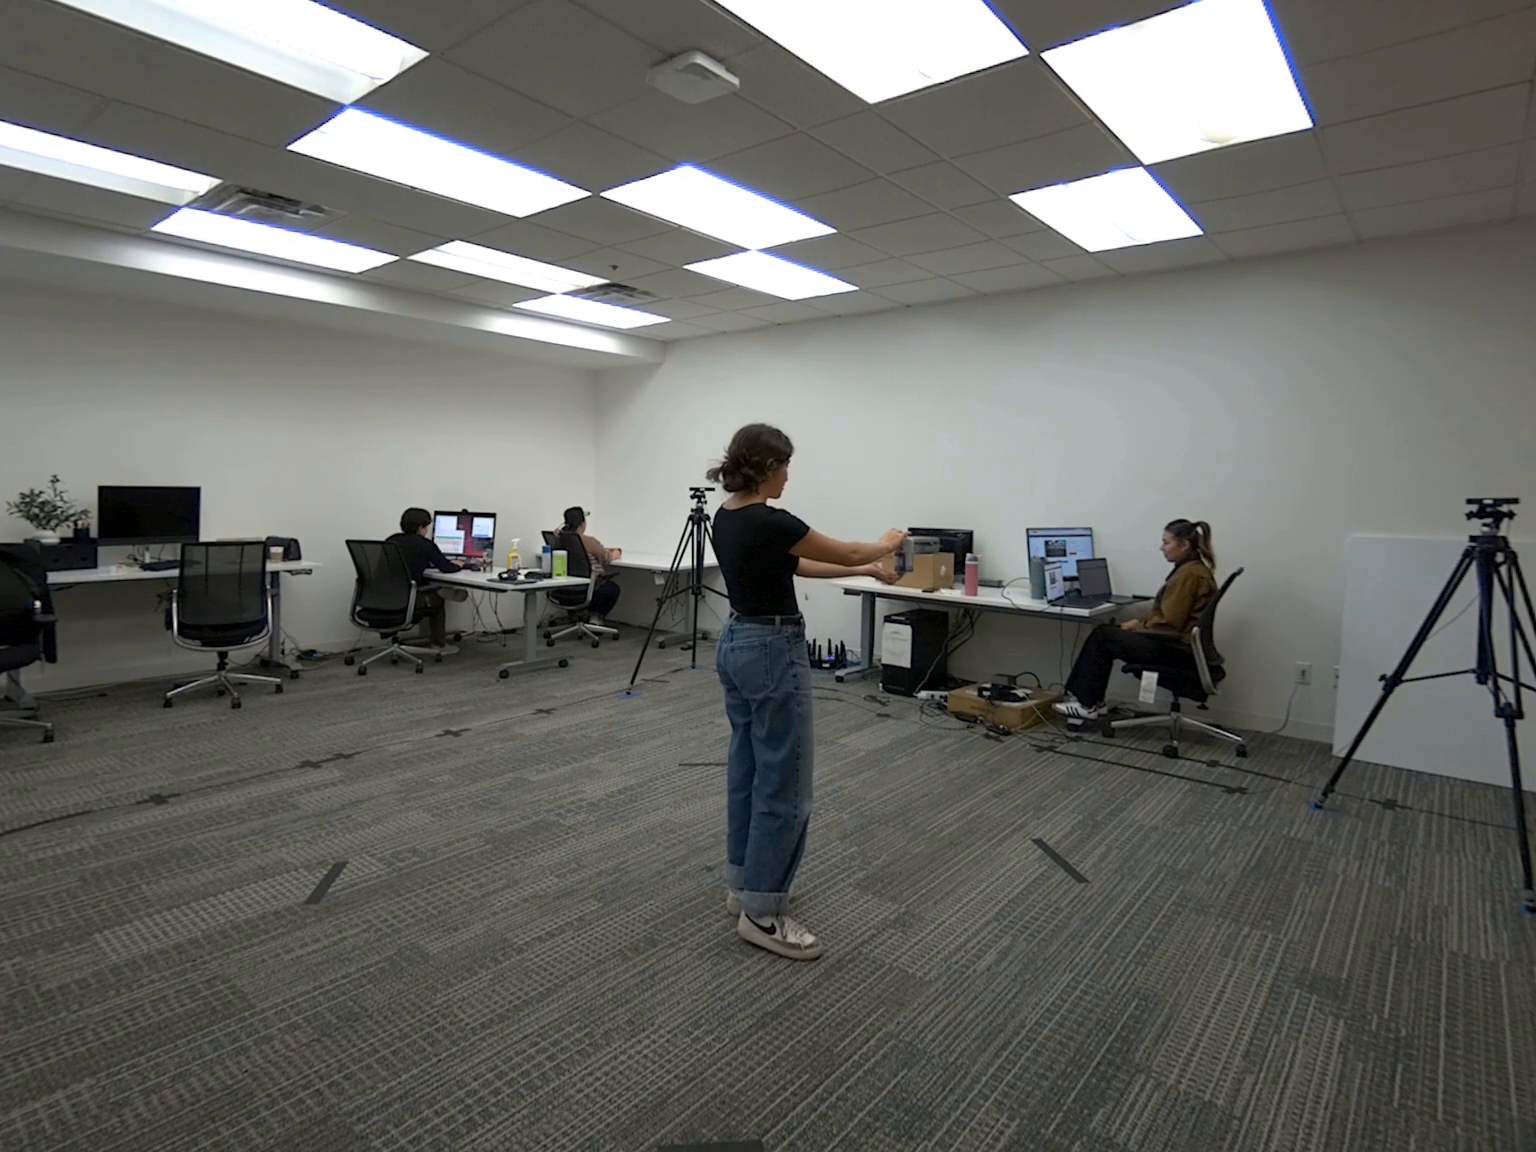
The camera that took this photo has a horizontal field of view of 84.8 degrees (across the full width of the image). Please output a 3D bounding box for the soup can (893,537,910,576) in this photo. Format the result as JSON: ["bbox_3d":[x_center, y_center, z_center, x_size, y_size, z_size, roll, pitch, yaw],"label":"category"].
[{"bbox_3d":[0.464,-0.072,2.955,0.067,0.121,0.067,-1,2,-2],"label":"soup can"}]
